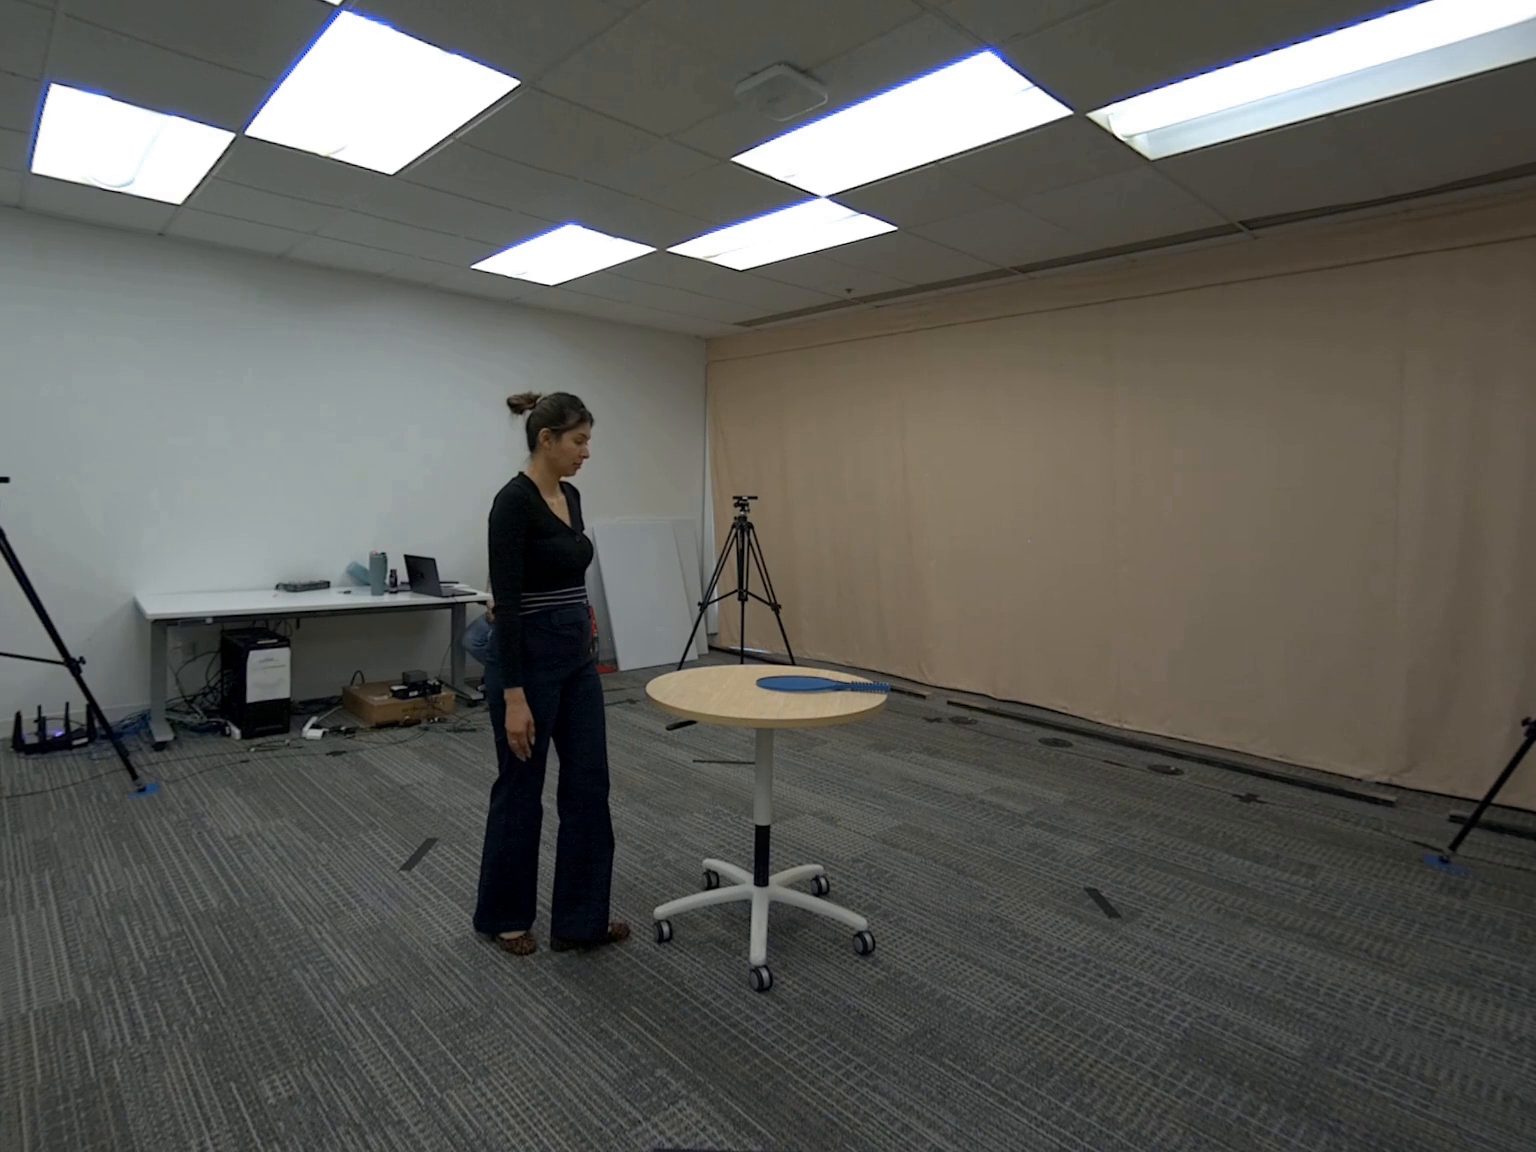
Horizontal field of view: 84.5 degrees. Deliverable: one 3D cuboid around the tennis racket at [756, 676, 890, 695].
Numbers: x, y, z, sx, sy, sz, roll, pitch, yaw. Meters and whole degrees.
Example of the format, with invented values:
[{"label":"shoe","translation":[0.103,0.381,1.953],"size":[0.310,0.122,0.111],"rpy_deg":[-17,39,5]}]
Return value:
[{"label":"tennis racket","translation":[0.172,0.349,2.710],"size":[0.439,0.032,0.211],"rpy_deg":[1,5,18]}]
